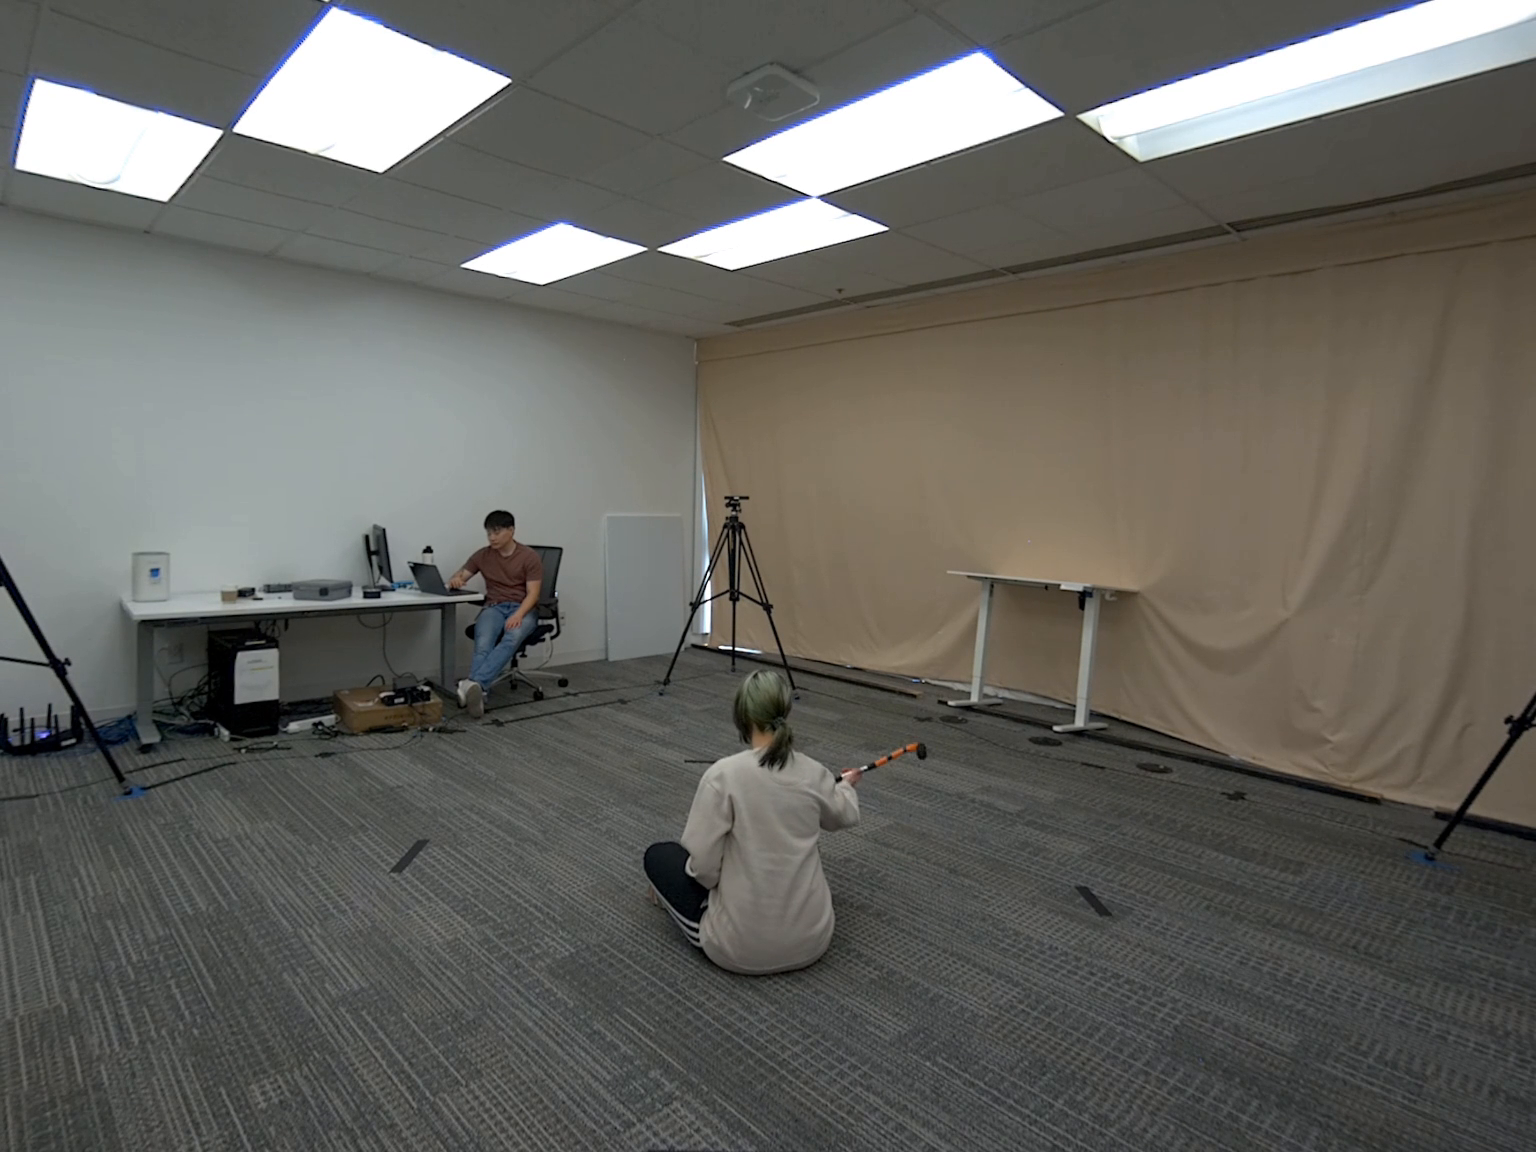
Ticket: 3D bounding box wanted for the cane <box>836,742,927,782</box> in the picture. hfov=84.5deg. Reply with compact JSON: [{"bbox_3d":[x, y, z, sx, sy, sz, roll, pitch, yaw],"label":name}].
[{"bbox_3d":[0.178,0.839,3.262,0.912,0.152,0.205,-23,-1,11],"label":"cane"}]
